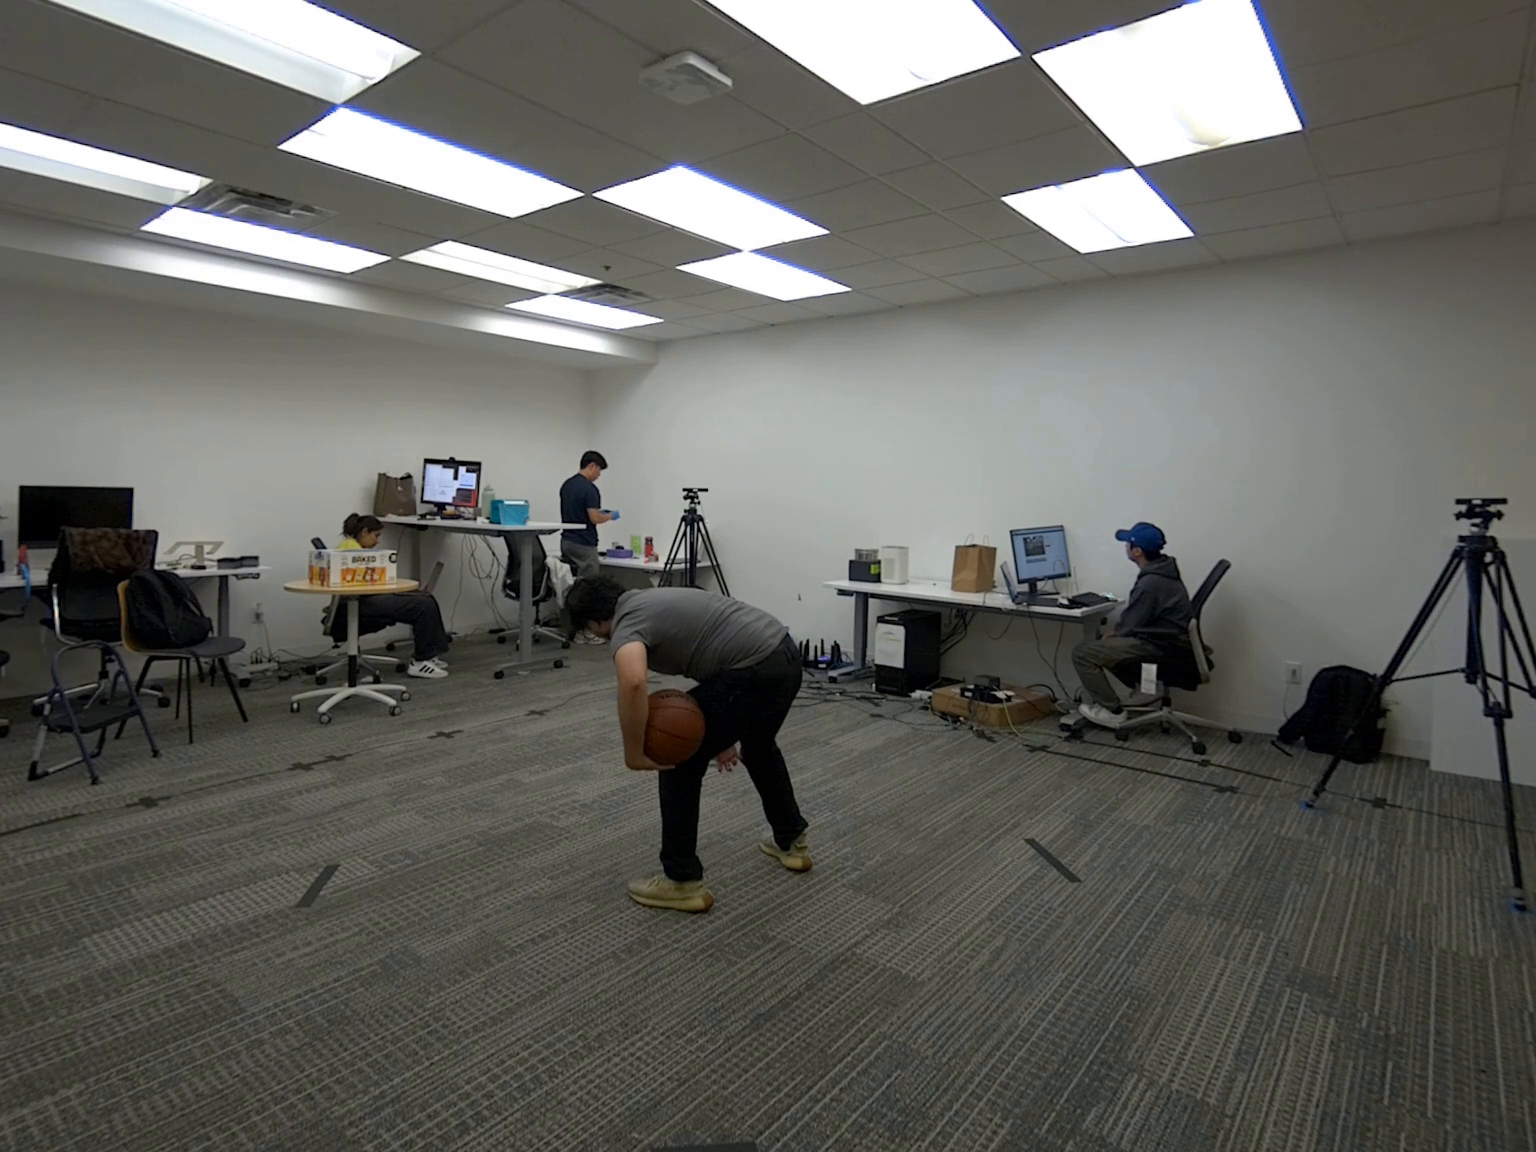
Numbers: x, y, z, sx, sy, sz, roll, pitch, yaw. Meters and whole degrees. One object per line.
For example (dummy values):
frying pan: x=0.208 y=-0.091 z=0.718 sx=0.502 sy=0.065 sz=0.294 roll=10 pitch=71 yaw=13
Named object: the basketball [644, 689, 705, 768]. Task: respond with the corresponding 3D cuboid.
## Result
basketball: x=-0.333 y=0.485 z=2.736 sx=0.235 sy=0.235 sz=0.237 roll=1 pitch=4 yaw=-2
